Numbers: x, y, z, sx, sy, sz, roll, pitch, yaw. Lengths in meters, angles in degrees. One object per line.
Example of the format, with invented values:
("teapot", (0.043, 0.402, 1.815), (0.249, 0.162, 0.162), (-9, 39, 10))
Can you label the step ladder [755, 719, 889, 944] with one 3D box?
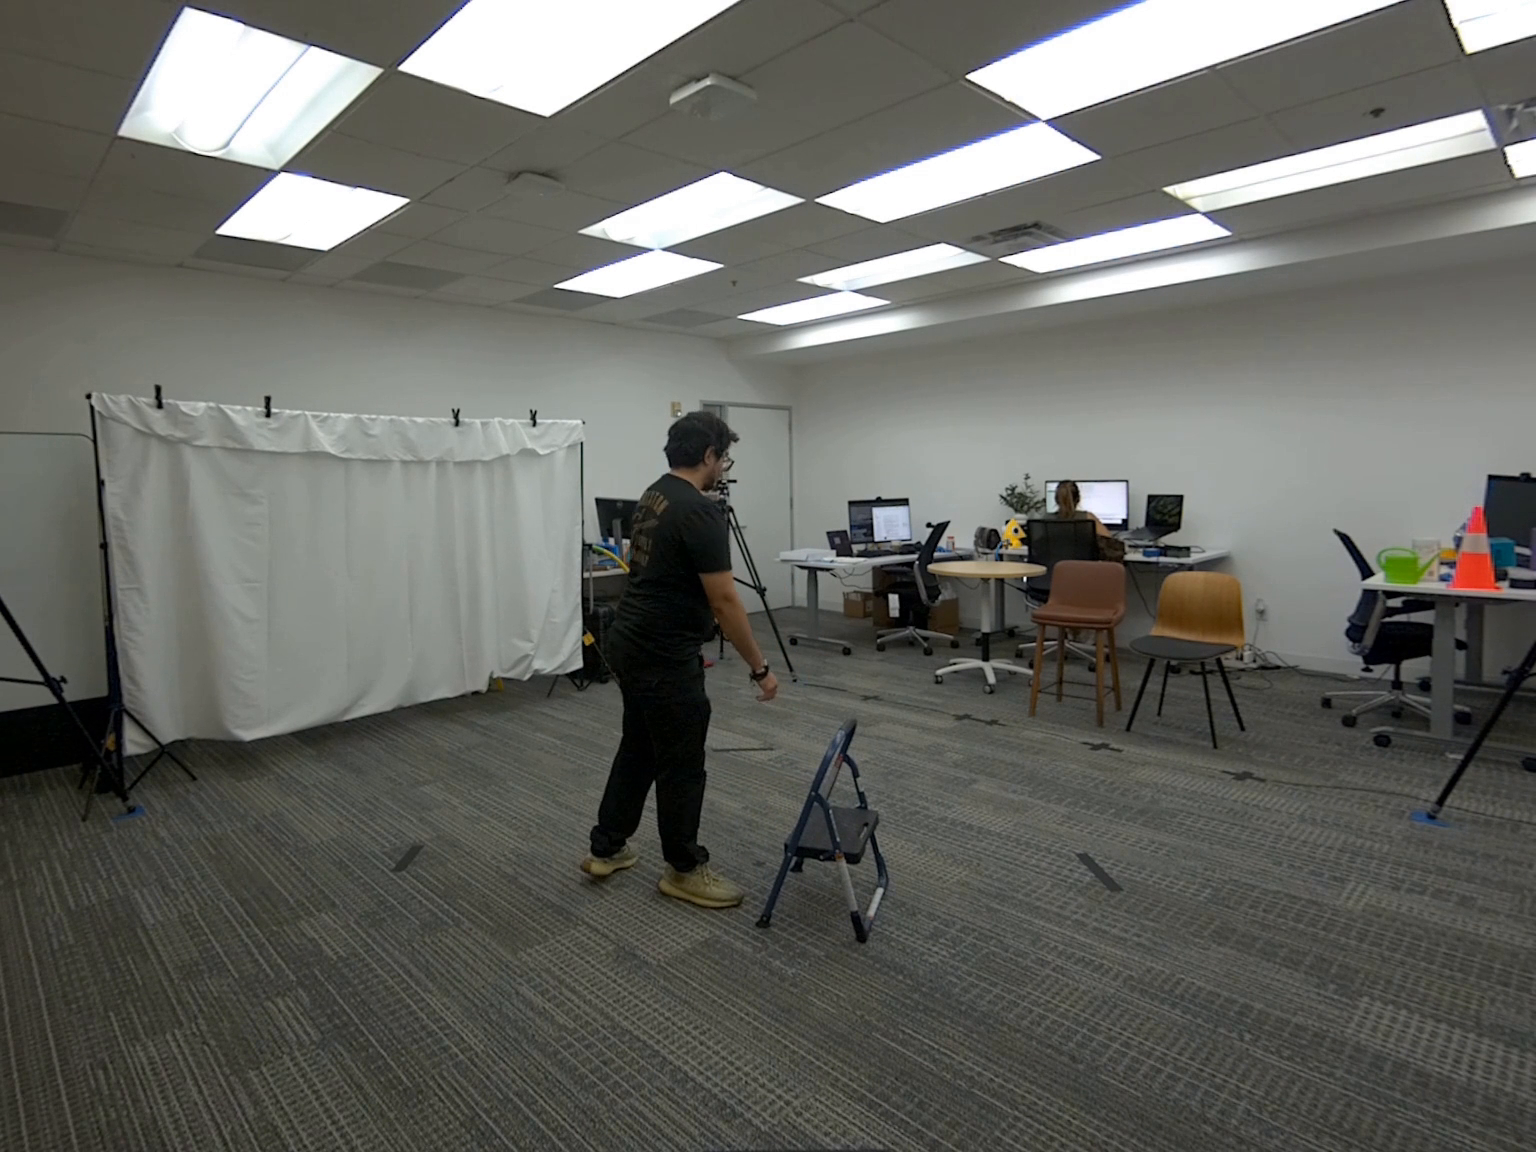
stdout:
("step ladder", (0.190, 0.774, 2.787), (0.356, 0.604, 0.424), (0, 5, 19))
